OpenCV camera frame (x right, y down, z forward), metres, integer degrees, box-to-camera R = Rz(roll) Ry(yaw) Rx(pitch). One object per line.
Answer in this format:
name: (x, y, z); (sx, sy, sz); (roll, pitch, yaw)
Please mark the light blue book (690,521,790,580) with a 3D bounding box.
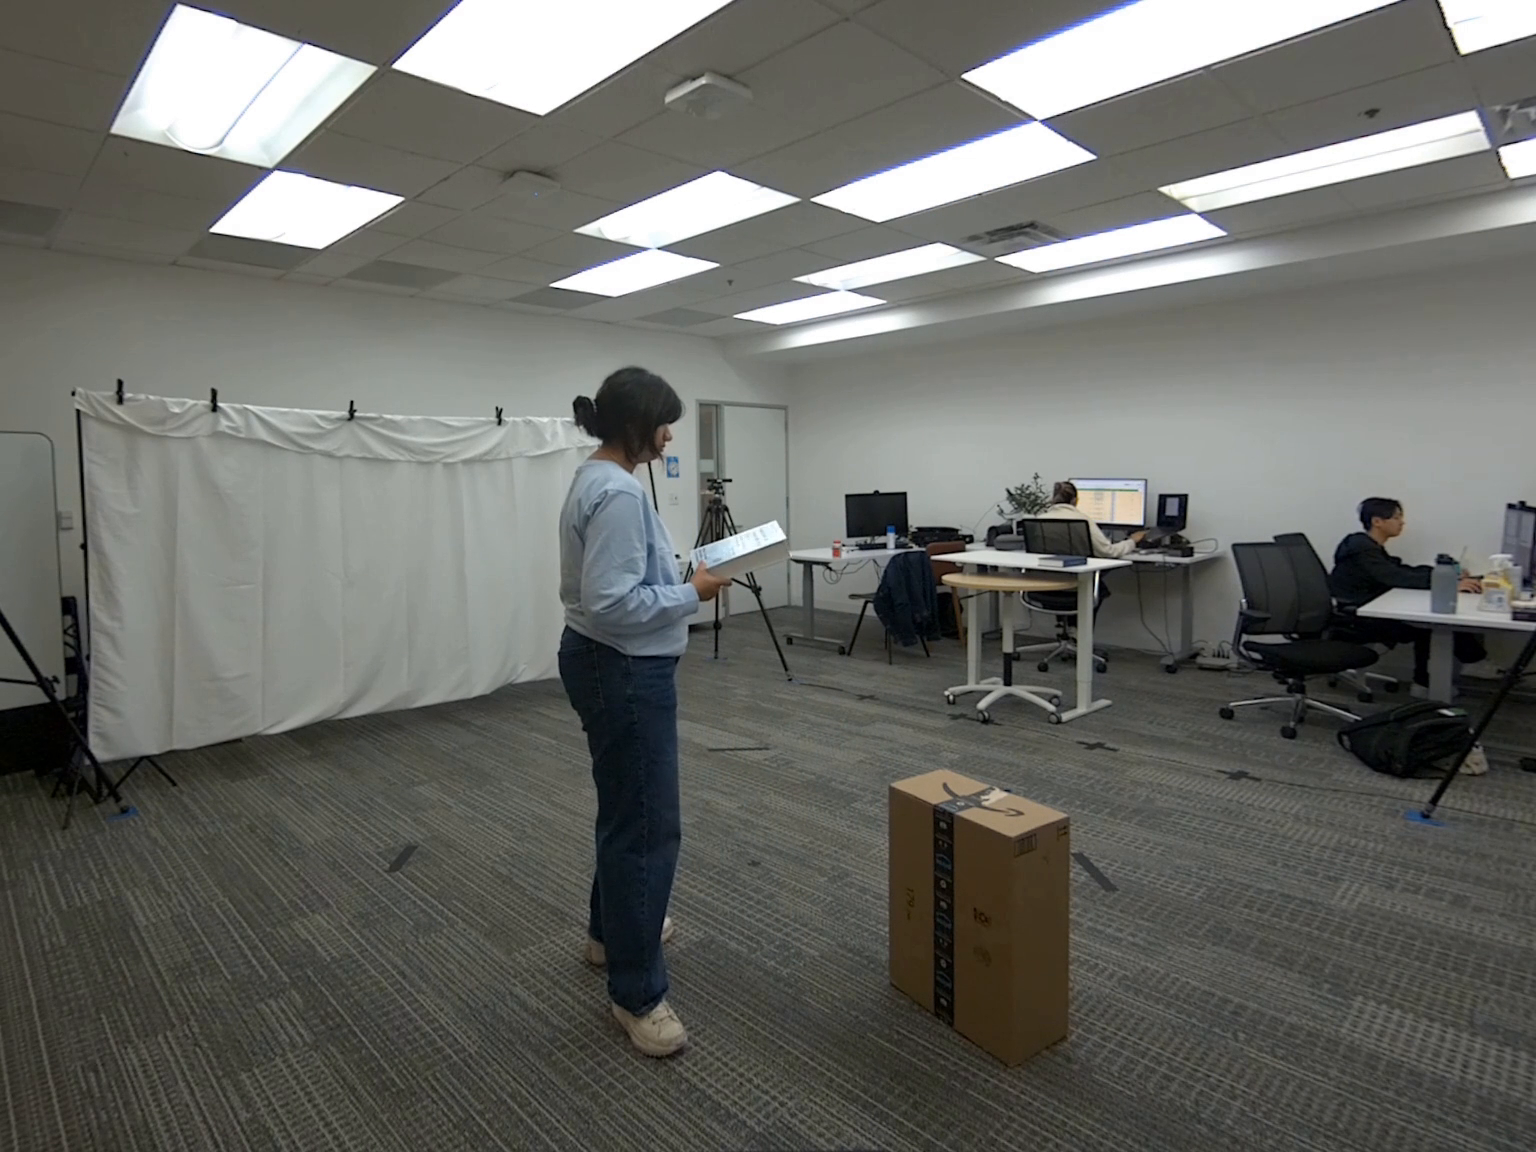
light blue book: (-0.079, -0.055, 2.319); (0.261, 0.058, 0.195); (-20, 20, -1)
